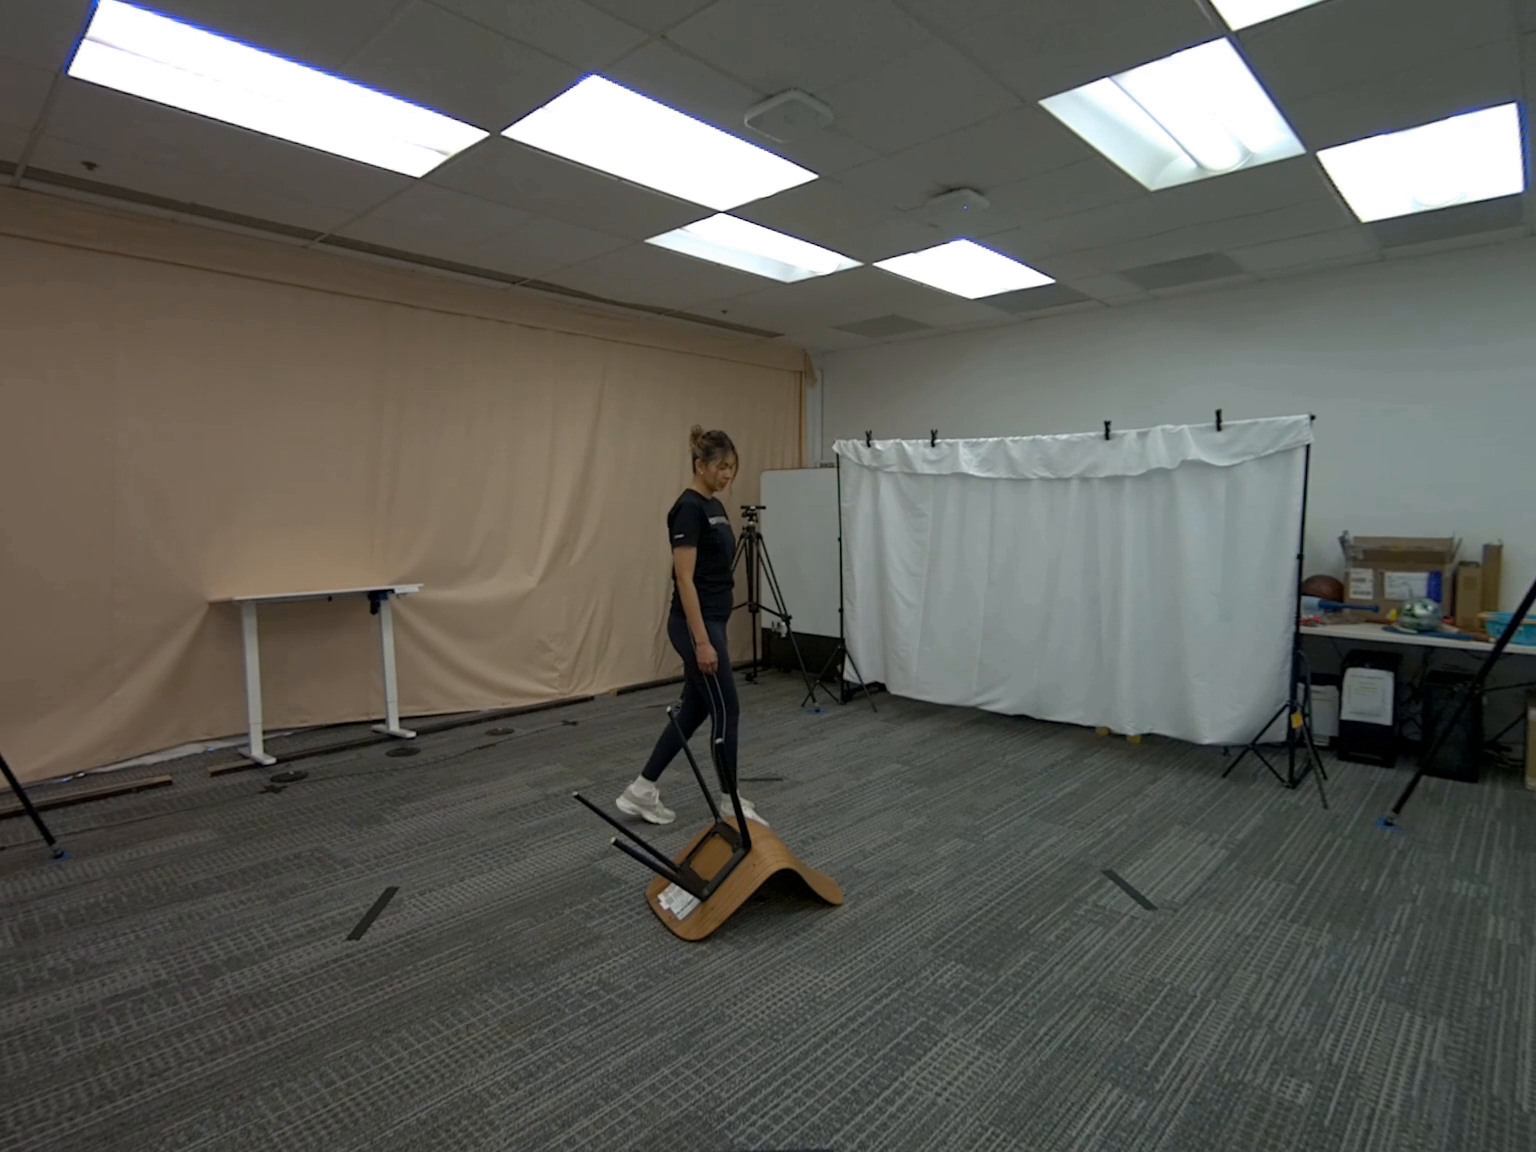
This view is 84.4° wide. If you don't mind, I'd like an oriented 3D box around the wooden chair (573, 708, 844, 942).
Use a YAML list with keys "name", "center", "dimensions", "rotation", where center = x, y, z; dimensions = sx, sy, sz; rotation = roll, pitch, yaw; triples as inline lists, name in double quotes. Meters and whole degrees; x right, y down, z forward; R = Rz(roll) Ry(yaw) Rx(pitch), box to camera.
- name: "wooden chair"
  center: [-0.195, 0.978, 2.918]
  dimensions: [0.520, 0.859, 0.491]
  rotation: [-44, 20, -17]
